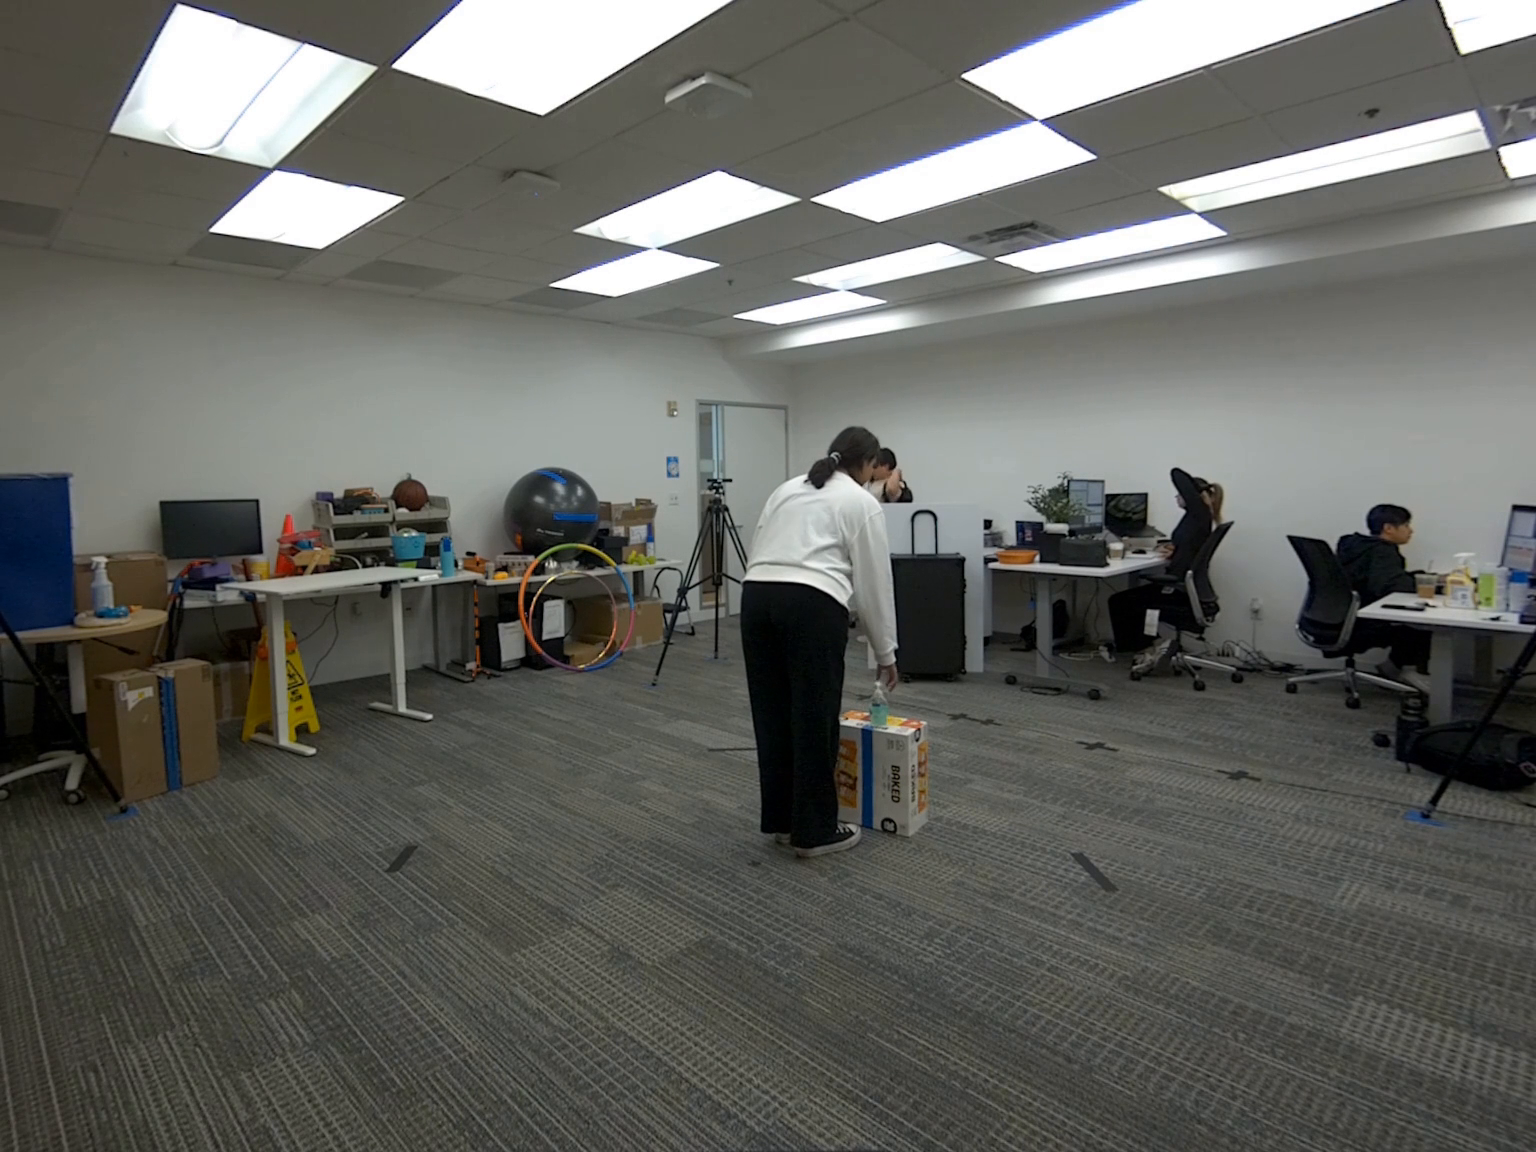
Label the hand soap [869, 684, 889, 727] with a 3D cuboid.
[{"bbox_3d":[0.438,0.510,3.434,0.087,0.167,0.042,-1,4,33],"label":"hand soap"}]
